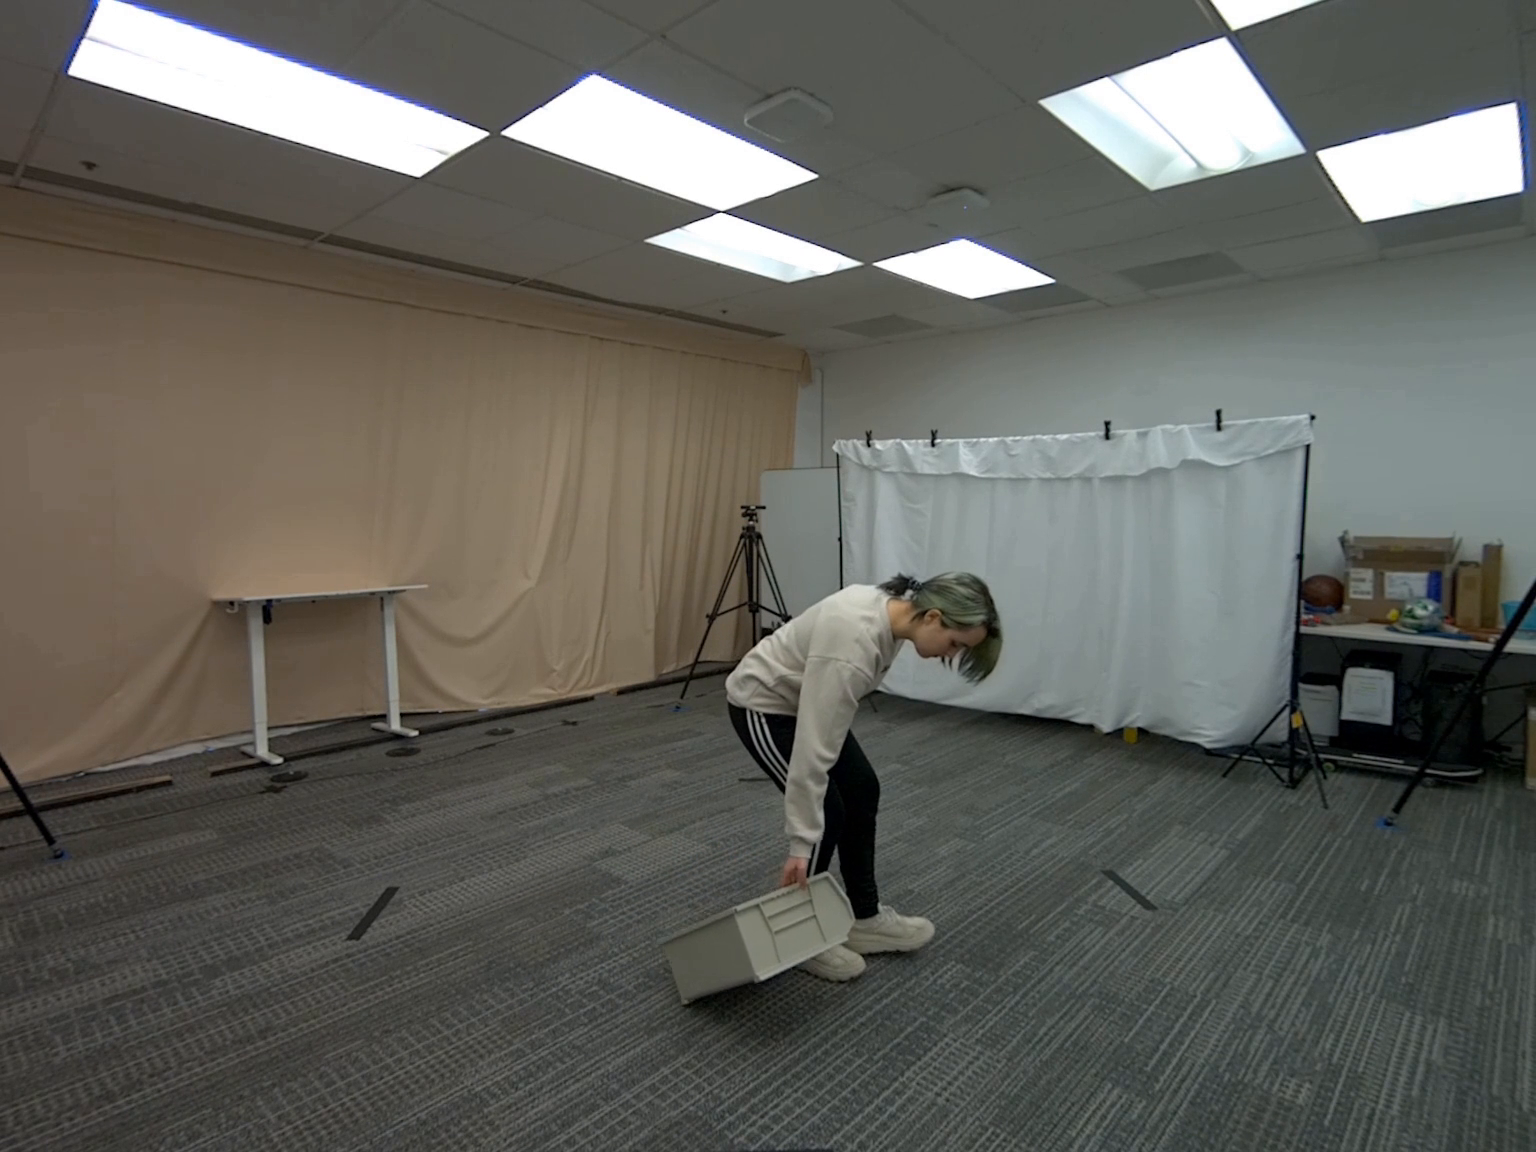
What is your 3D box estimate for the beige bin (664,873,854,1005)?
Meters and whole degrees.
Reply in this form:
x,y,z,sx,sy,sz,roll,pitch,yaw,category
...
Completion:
x,y,z,sx,sy,sz,roll,pitch,yaw,category
-0.024,1.013,2.341,0.366,0.193,0.427,-4,-26,-40,beige bin
